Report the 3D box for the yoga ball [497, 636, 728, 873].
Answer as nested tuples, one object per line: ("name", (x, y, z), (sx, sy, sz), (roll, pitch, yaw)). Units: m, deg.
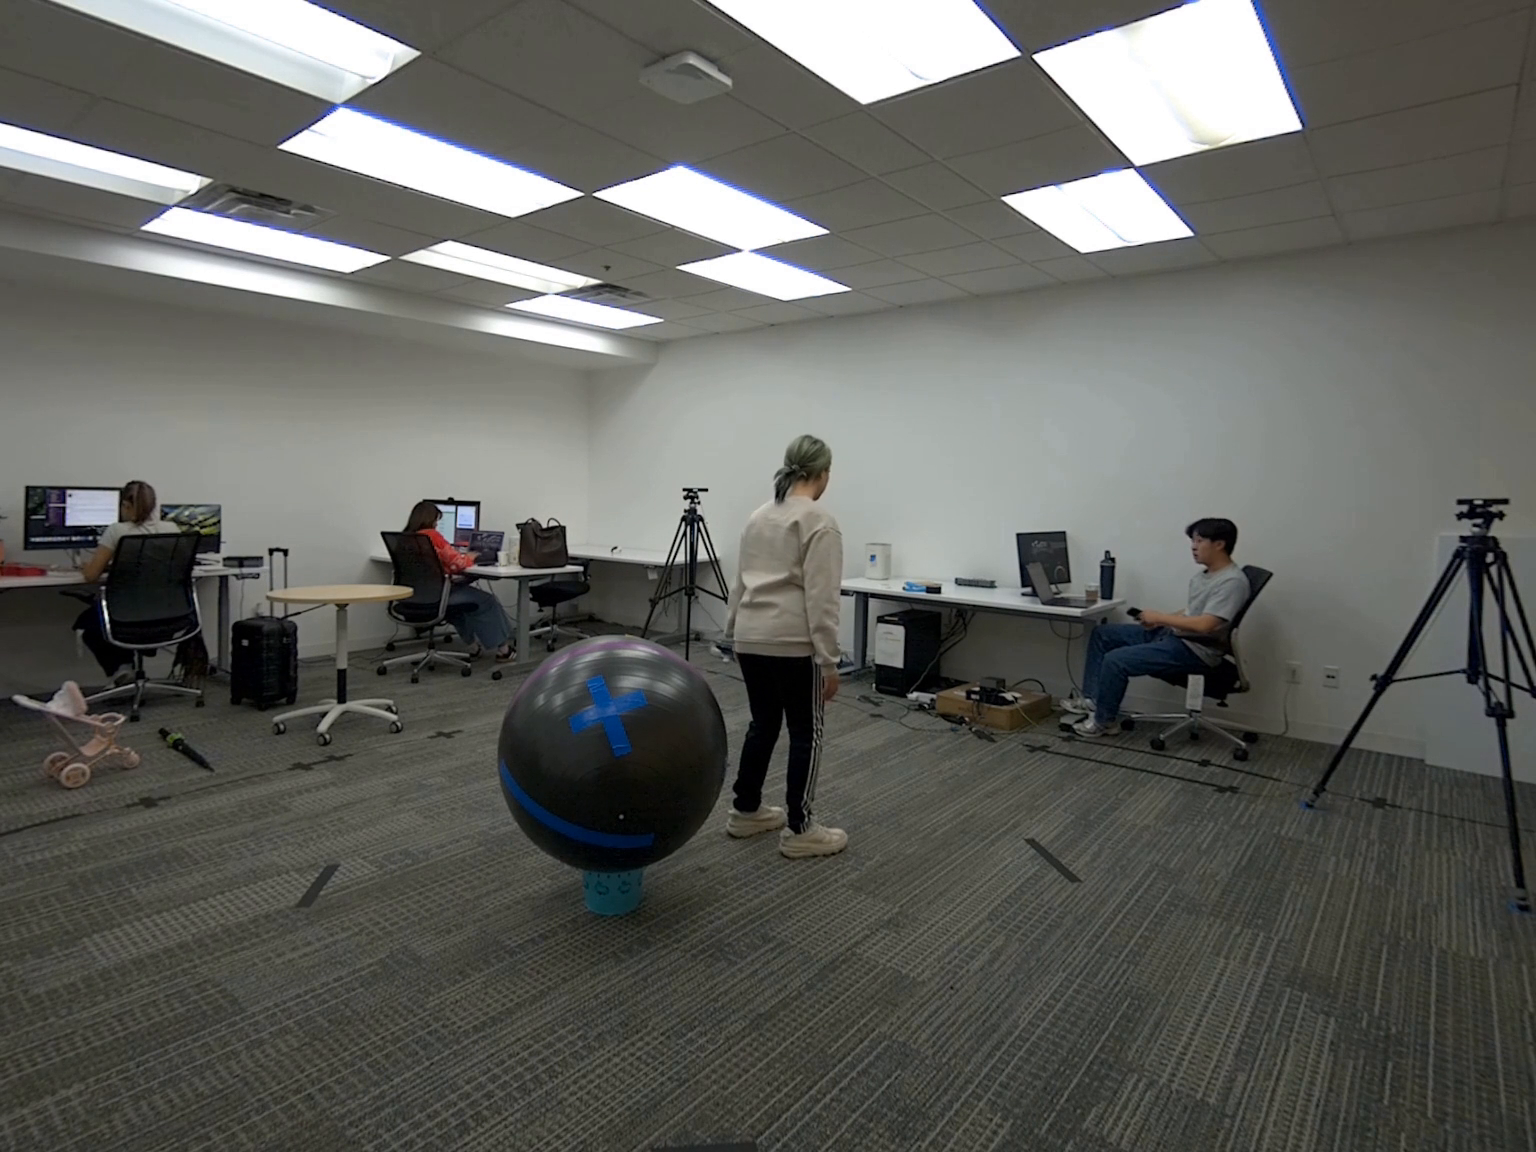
("yoga ball", (-0.521, 0.582, 2.830), (0.757, 0.755, 0.762), (1, 4, -2))
